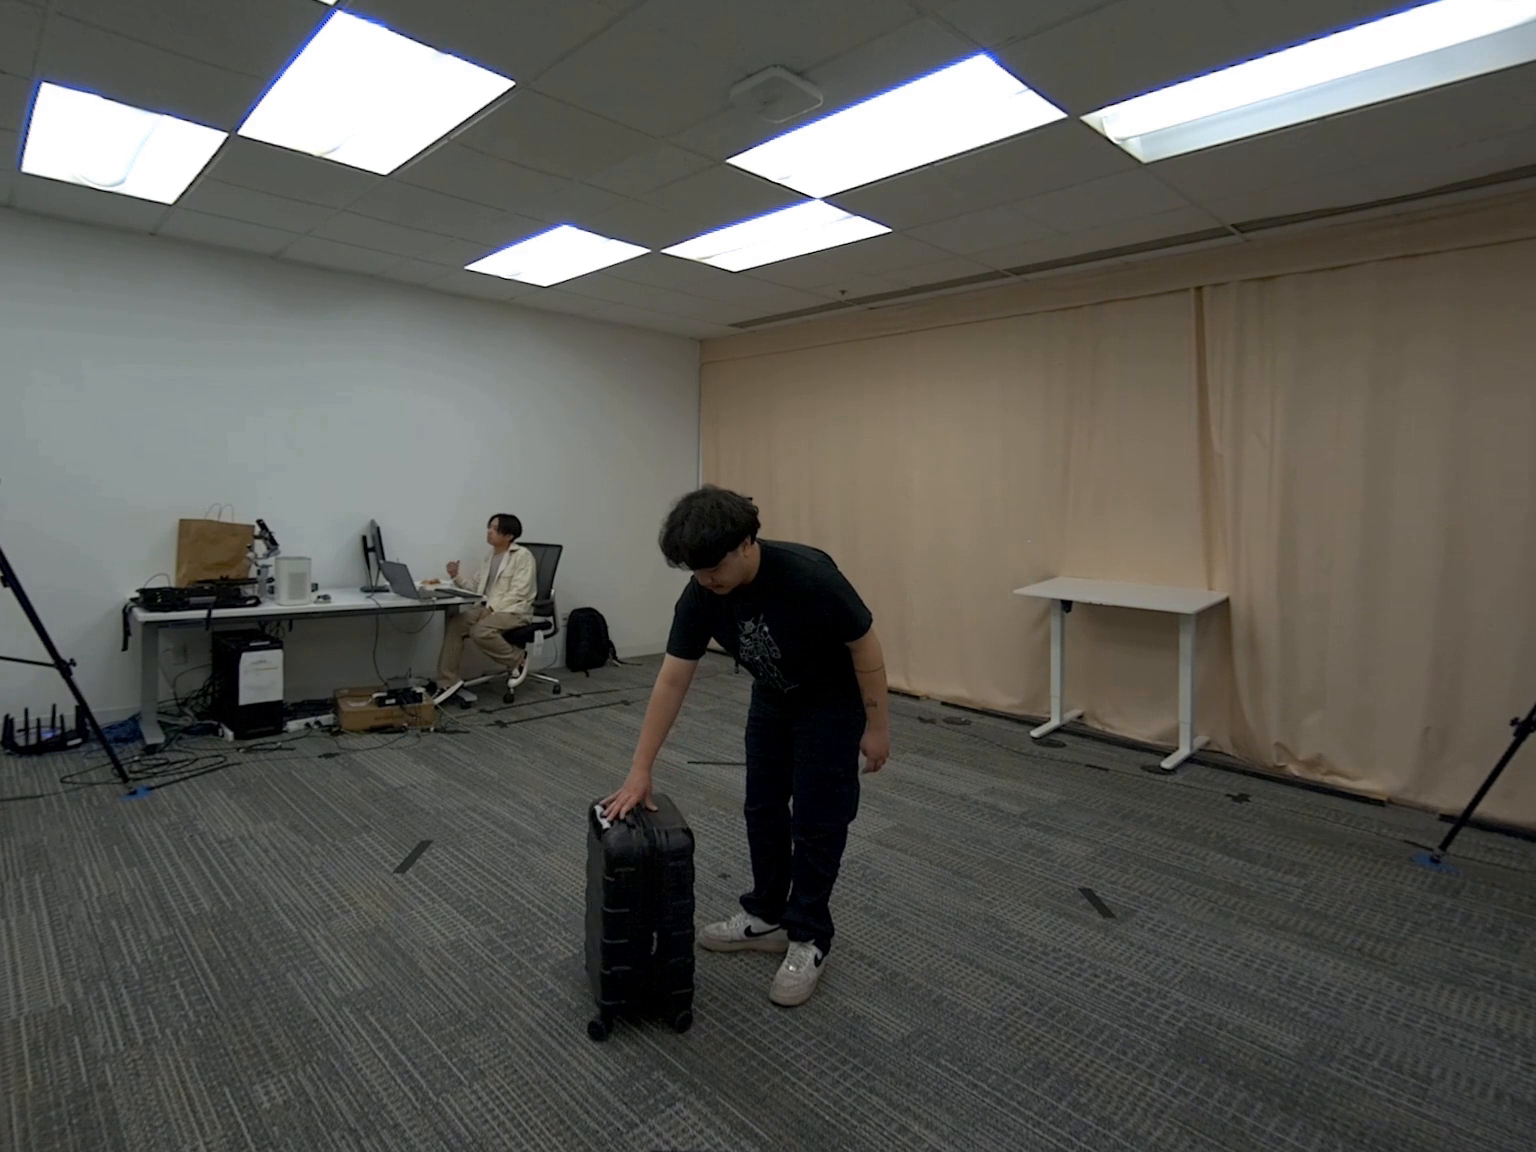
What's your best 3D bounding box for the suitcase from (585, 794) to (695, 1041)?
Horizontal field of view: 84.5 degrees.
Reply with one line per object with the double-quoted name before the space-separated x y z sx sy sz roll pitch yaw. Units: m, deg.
"suitcase" -0.359 0.900 2.308 0.245 0.548 0.381 1 3 -19
